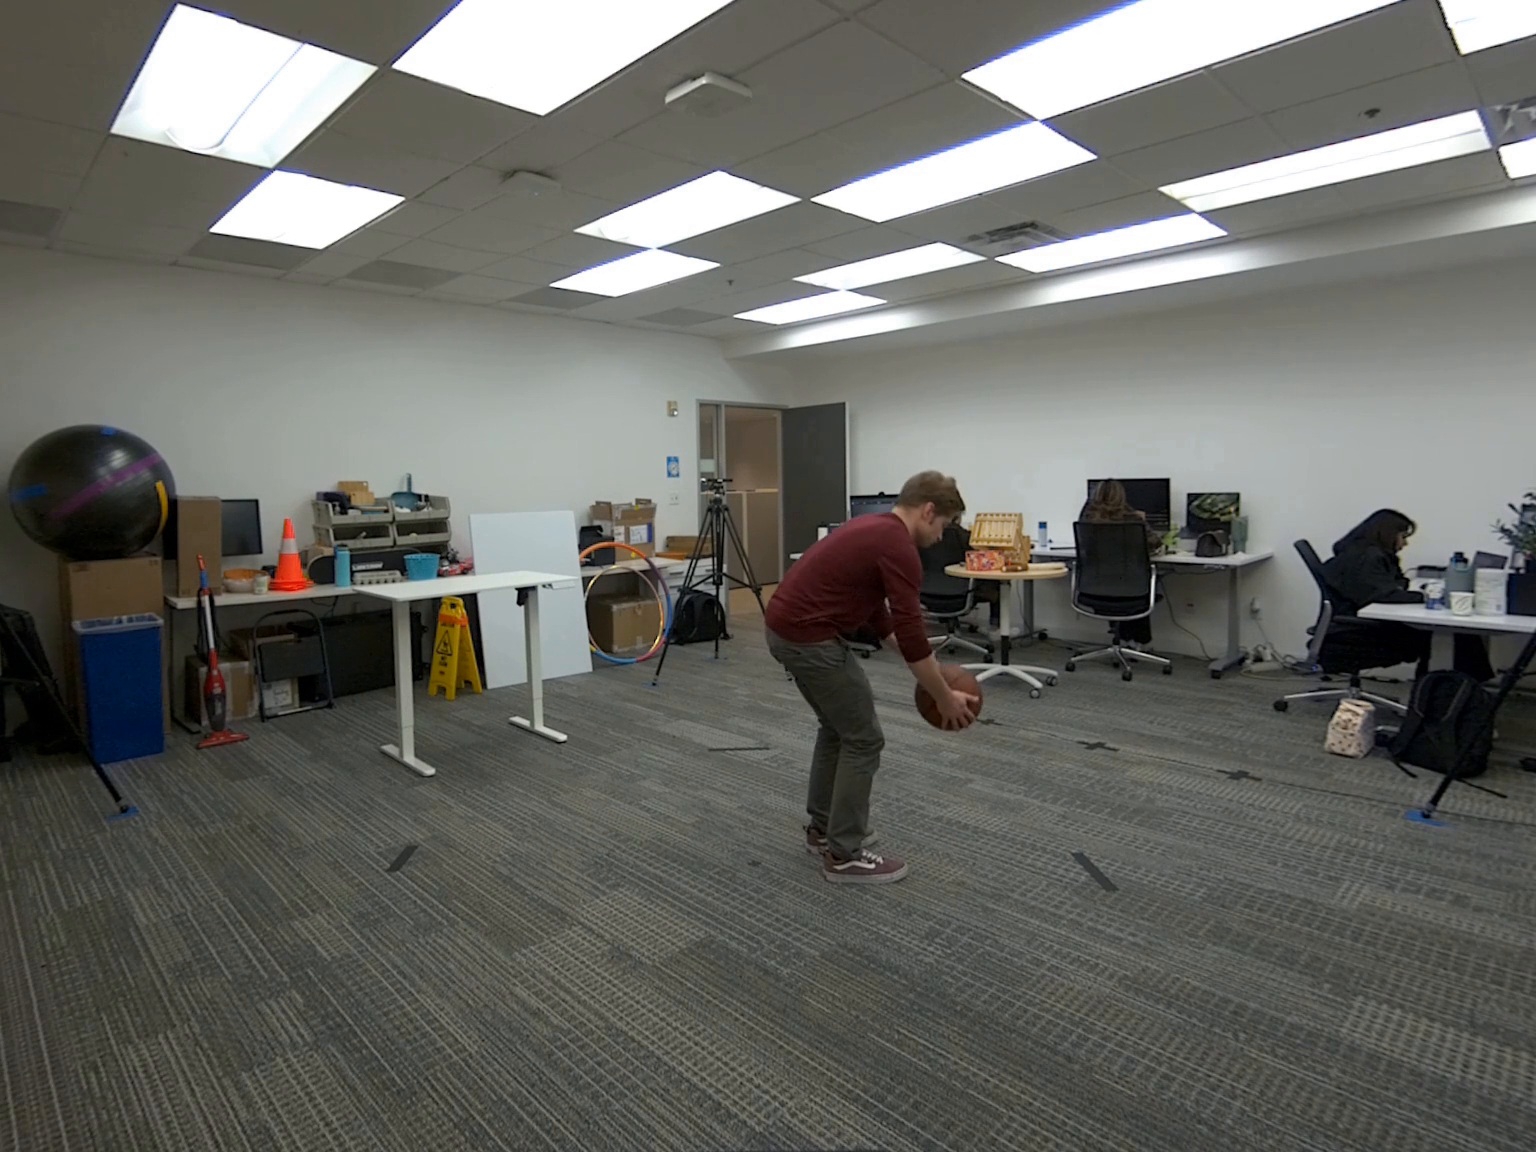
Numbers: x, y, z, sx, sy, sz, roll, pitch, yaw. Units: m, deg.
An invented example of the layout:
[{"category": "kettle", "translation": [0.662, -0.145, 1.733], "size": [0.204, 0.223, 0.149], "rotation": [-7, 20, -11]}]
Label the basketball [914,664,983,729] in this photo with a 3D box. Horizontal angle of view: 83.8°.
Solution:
[{"category": "basketball", "translation": [0.646, 0.433, 3.079], "size": [0.236, 0.235, 0.237], "rotation": [-1, 5, -2]}]
